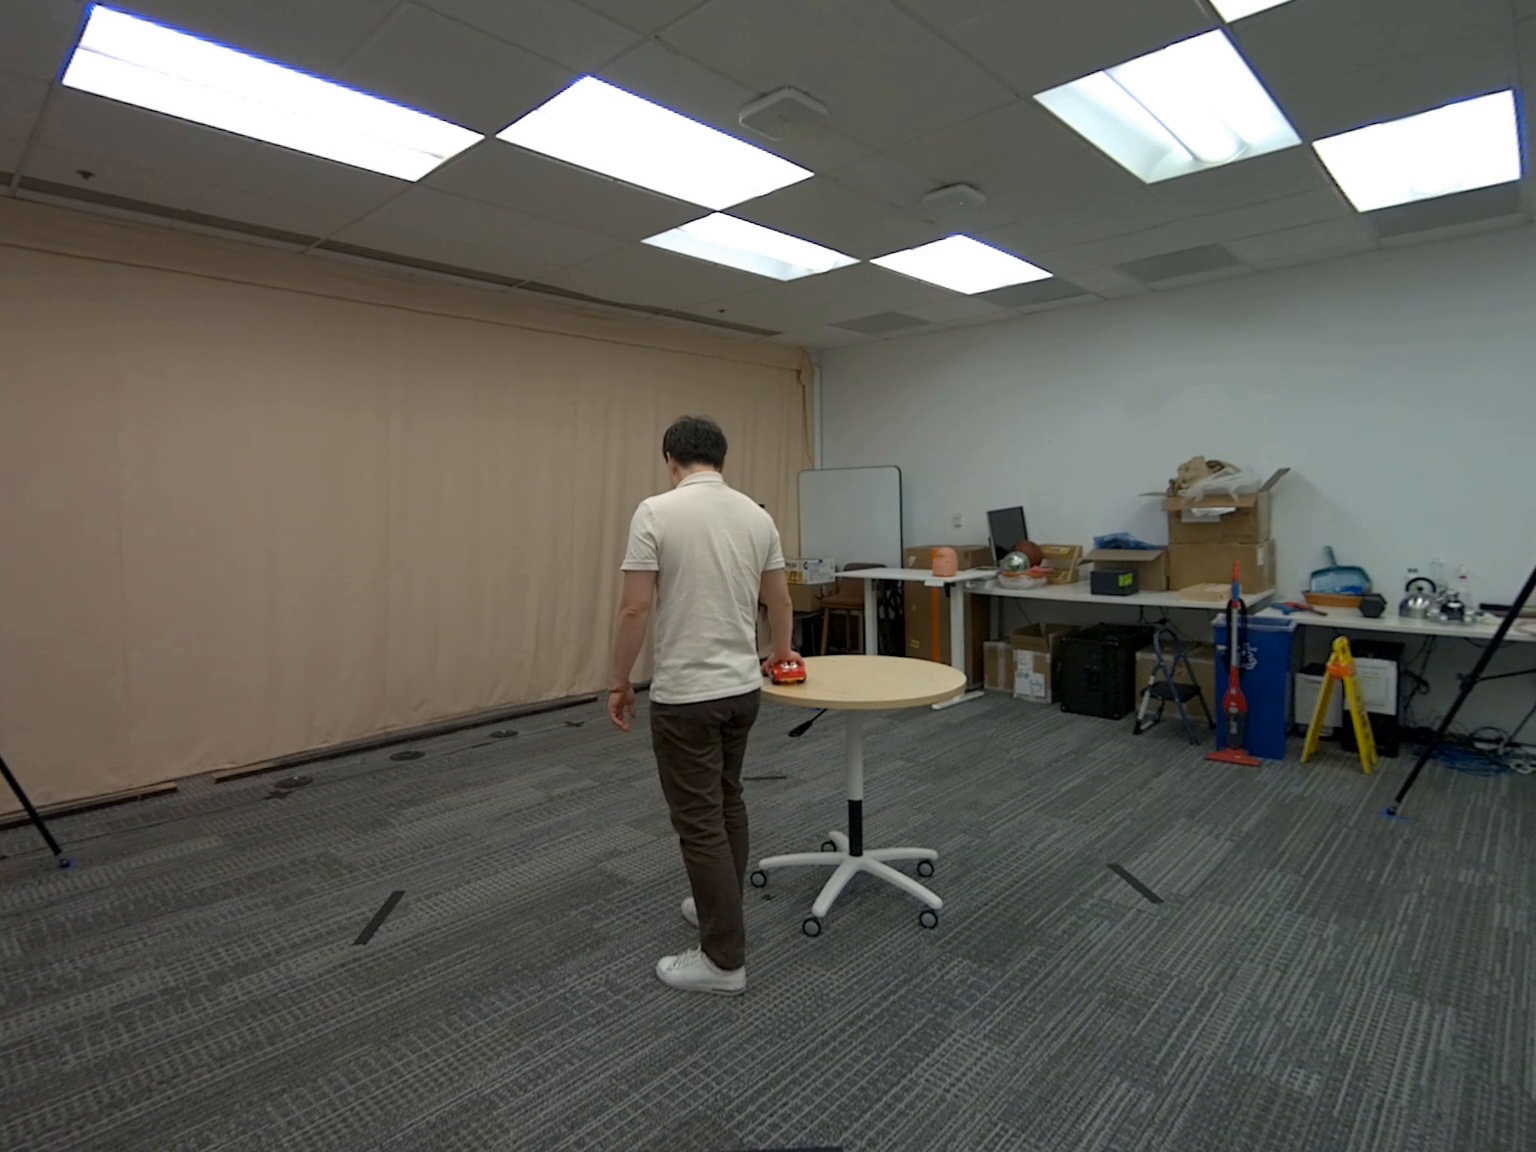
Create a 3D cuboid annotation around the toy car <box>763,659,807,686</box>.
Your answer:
[{"bbox_3d":[0.060,0.333,2.907,0.129,0.083,0.256,-2,-6,-12],"label":"toy car"}]
